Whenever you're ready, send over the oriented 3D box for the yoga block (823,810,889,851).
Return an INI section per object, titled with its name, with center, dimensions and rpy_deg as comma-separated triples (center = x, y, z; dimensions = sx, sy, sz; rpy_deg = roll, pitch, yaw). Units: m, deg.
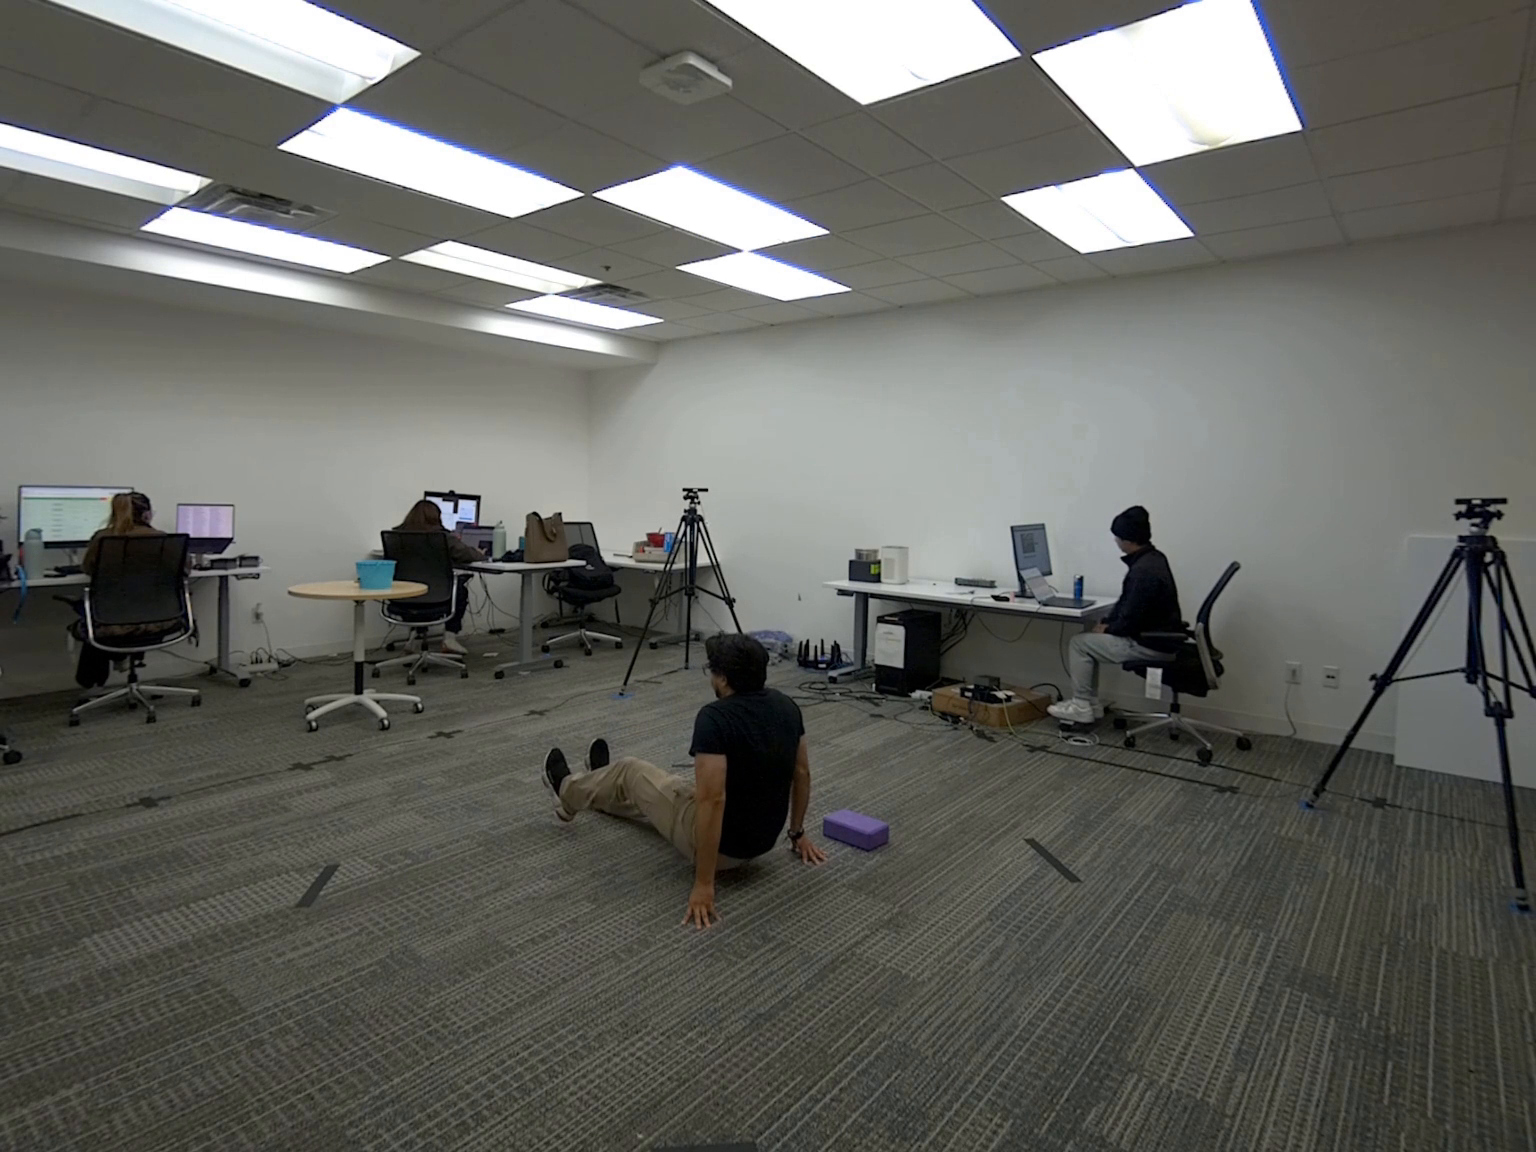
[yoga block]
center = 0.341, 1.014, 3.418
dimensions = 0.237, 0.076, 0.144
rpy_deg = 7, 7, 42
